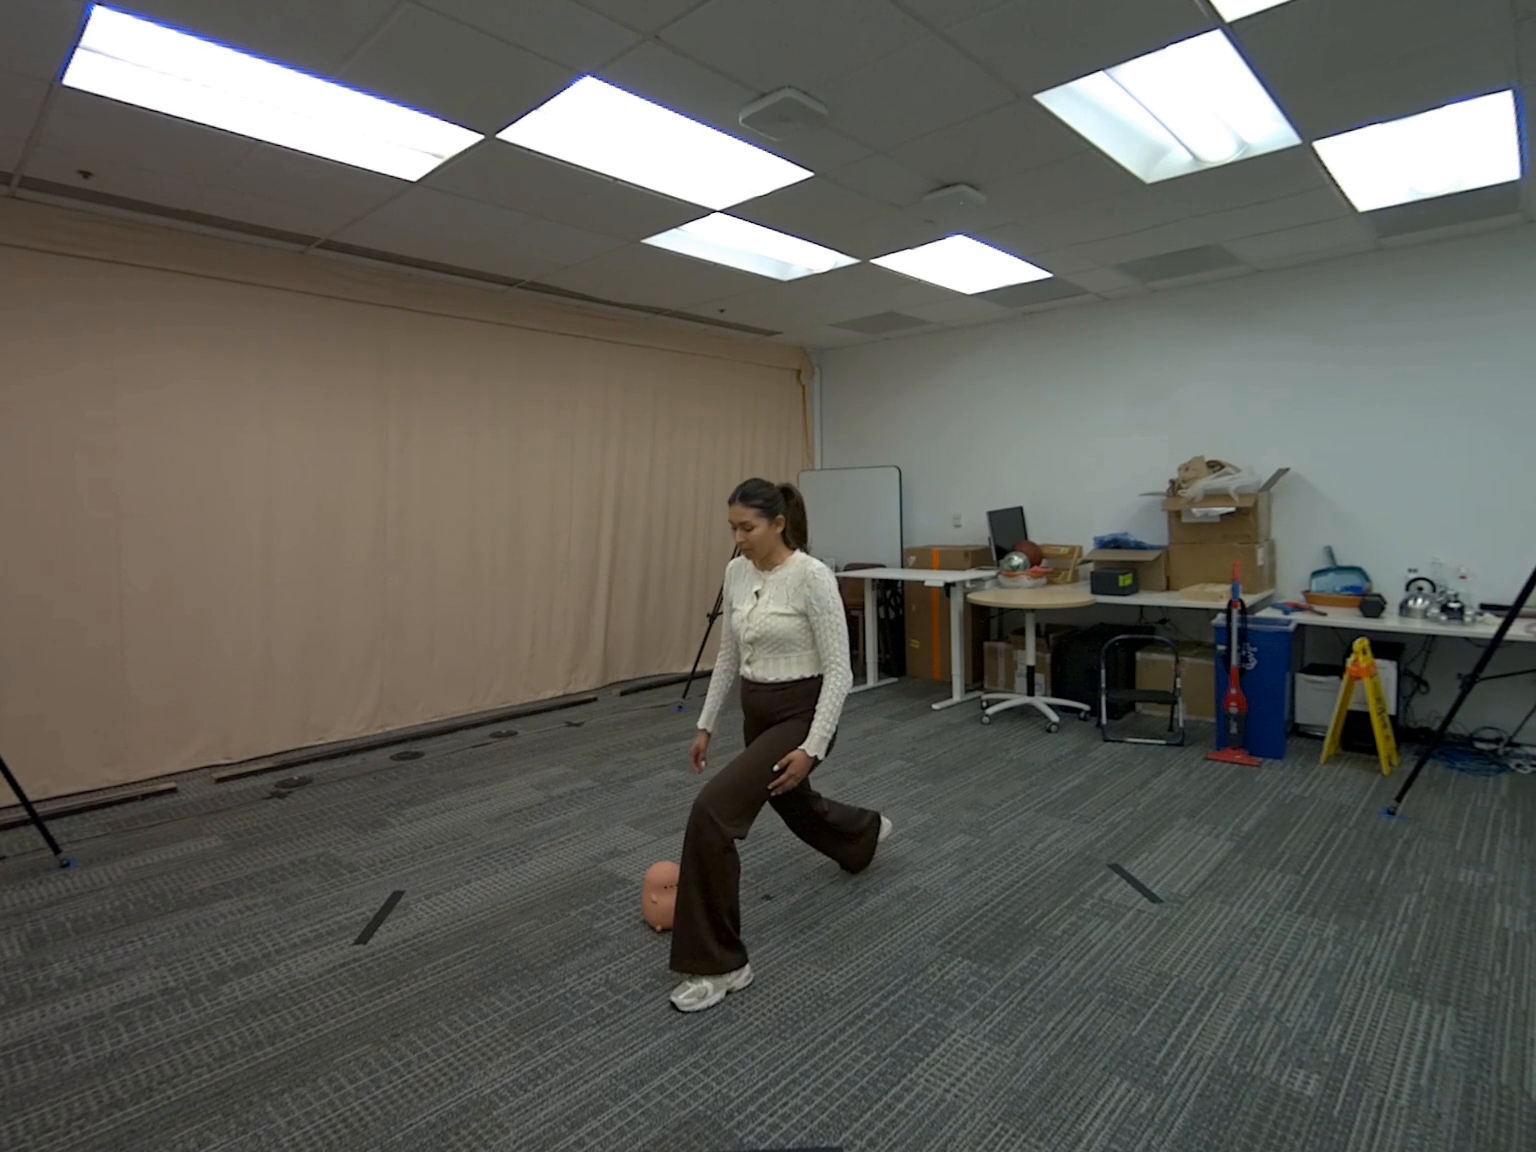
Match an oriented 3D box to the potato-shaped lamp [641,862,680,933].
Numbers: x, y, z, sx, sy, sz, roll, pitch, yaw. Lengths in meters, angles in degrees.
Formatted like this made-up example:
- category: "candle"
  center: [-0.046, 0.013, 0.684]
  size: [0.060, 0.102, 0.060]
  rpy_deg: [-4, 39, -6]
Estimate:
- category: "potato-shaped lamp"
  center: [-0.335, 1.053, 2.817]
  size: [0.161, 0.198, 0.175]
  rpy_deg: [-1, 2, -20]
